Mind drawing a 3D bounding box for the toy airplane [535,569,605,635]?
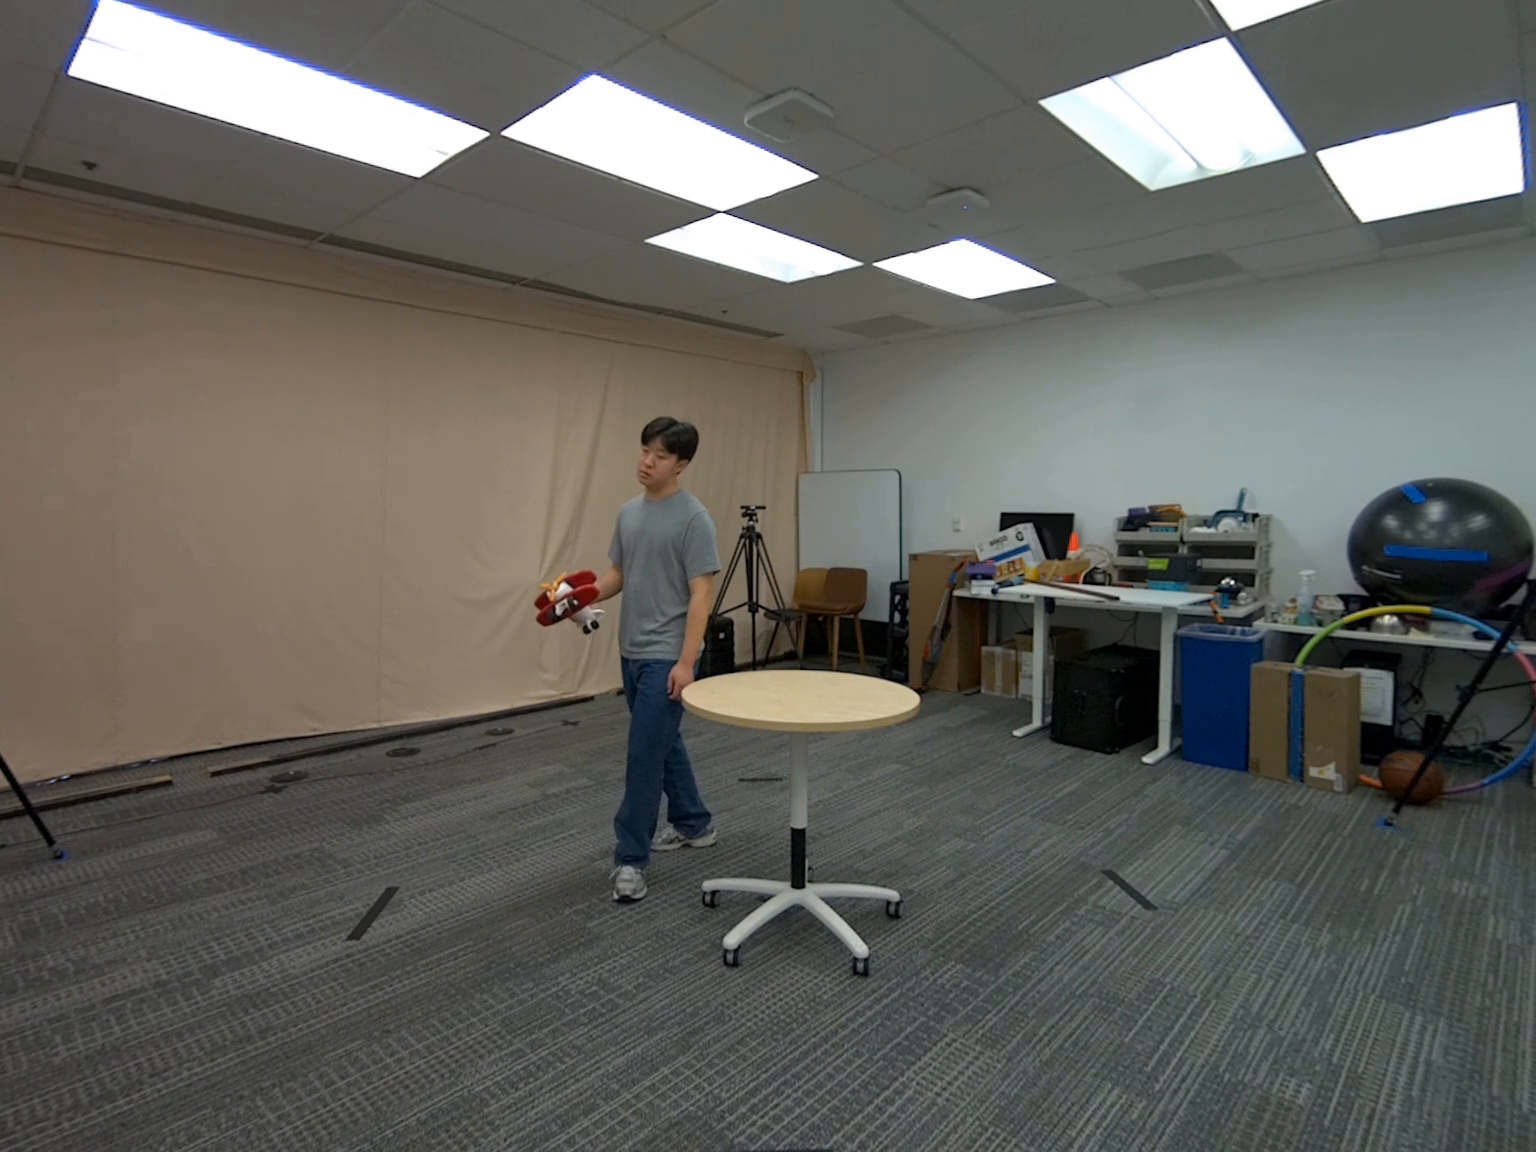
[{"bbox_3d":[-0.723,0.114,3.082,0.248,0.160,0.255,-15,-31,-14],"label":"toy airplane"}]
